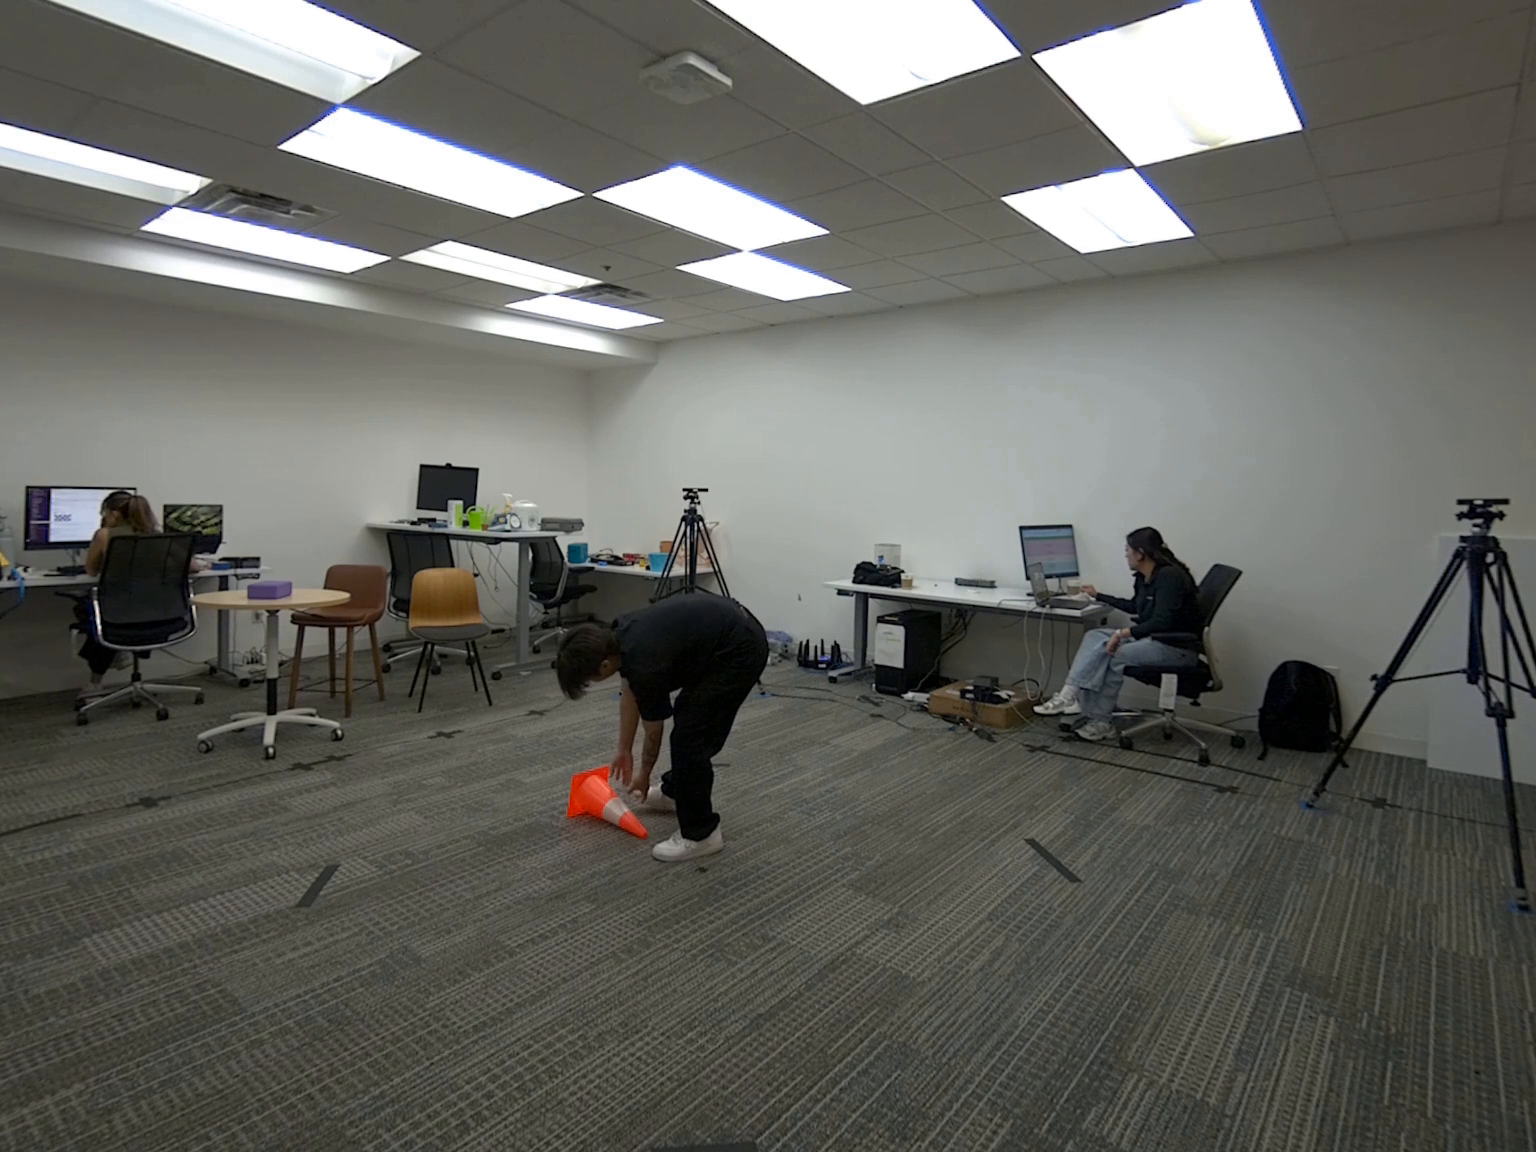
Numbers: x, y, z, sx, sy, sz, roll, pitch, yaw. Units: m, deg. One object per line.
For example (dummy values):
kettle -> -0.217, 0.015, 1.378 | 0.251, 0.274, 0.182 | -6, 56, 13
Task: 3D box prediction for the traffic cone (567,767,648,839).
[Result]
traffic cone -> -0.642, 0.970, 3.505 | 0.399, 0.201, 0.199 | 21, 19, 41
